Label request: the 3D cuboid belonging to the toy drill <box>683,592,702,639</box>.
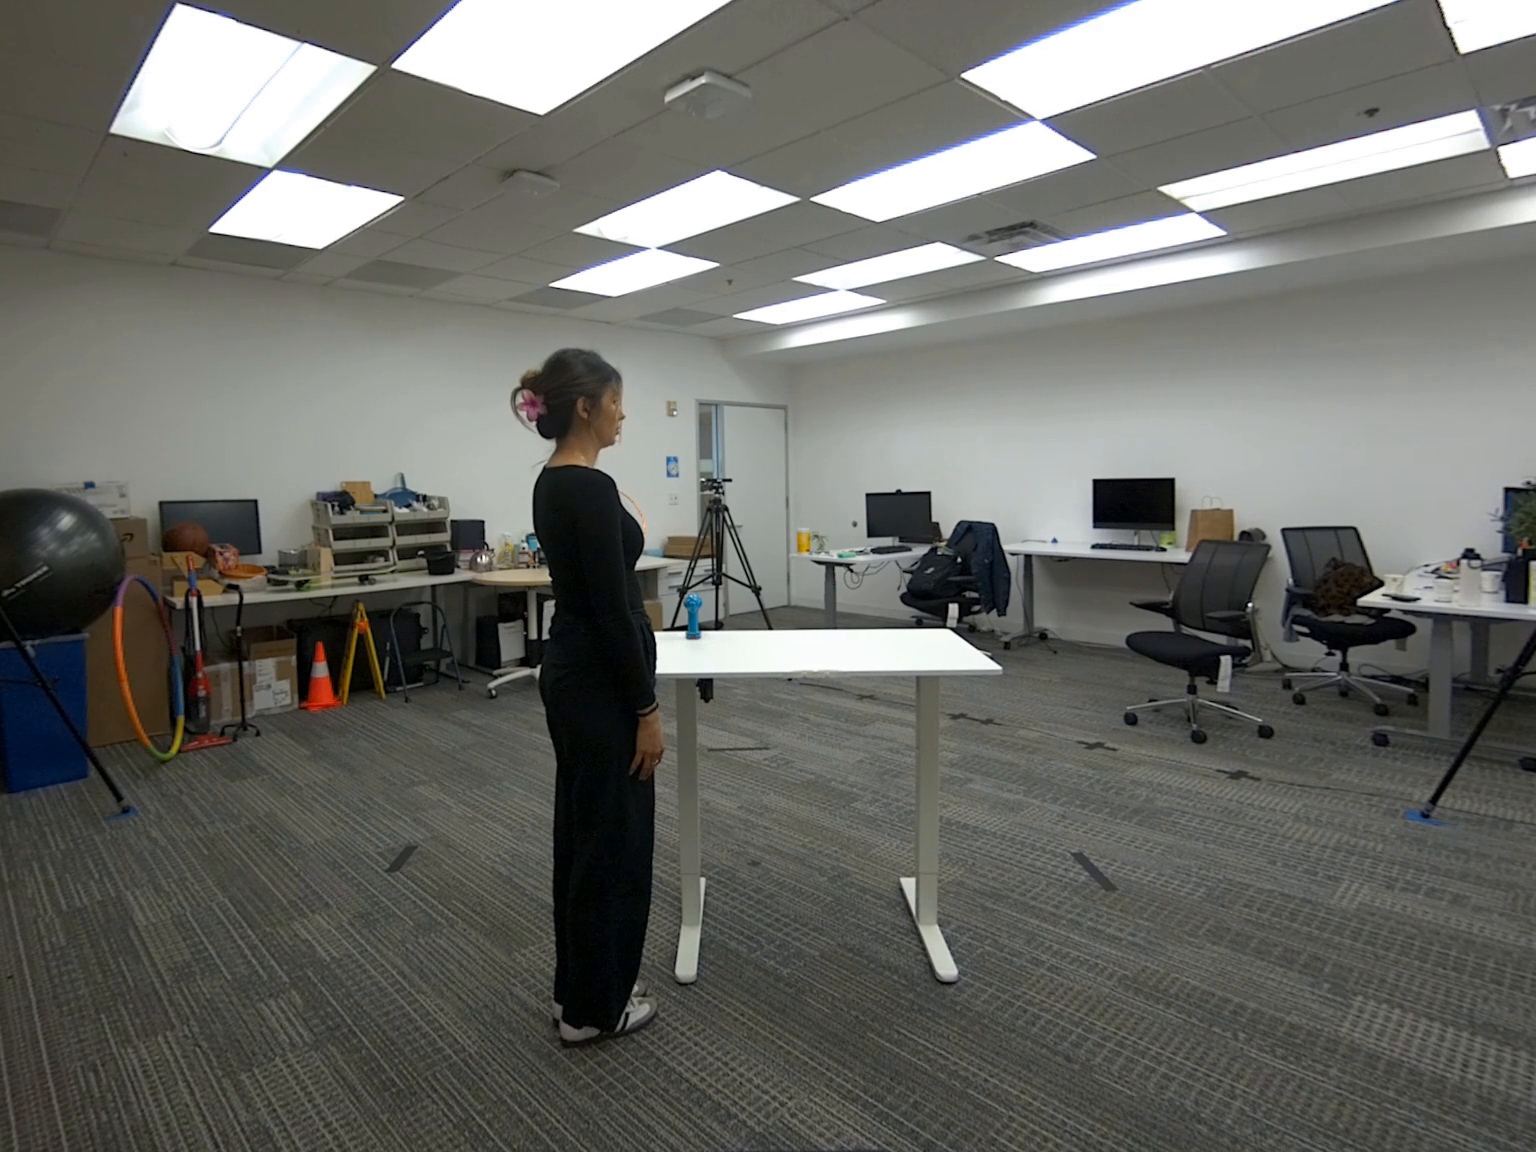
[{"bbox_3d":[-0.244,0.124,2.827,0.061,0.145,0.171,0,8,-1],"label":"toy drill"}]
